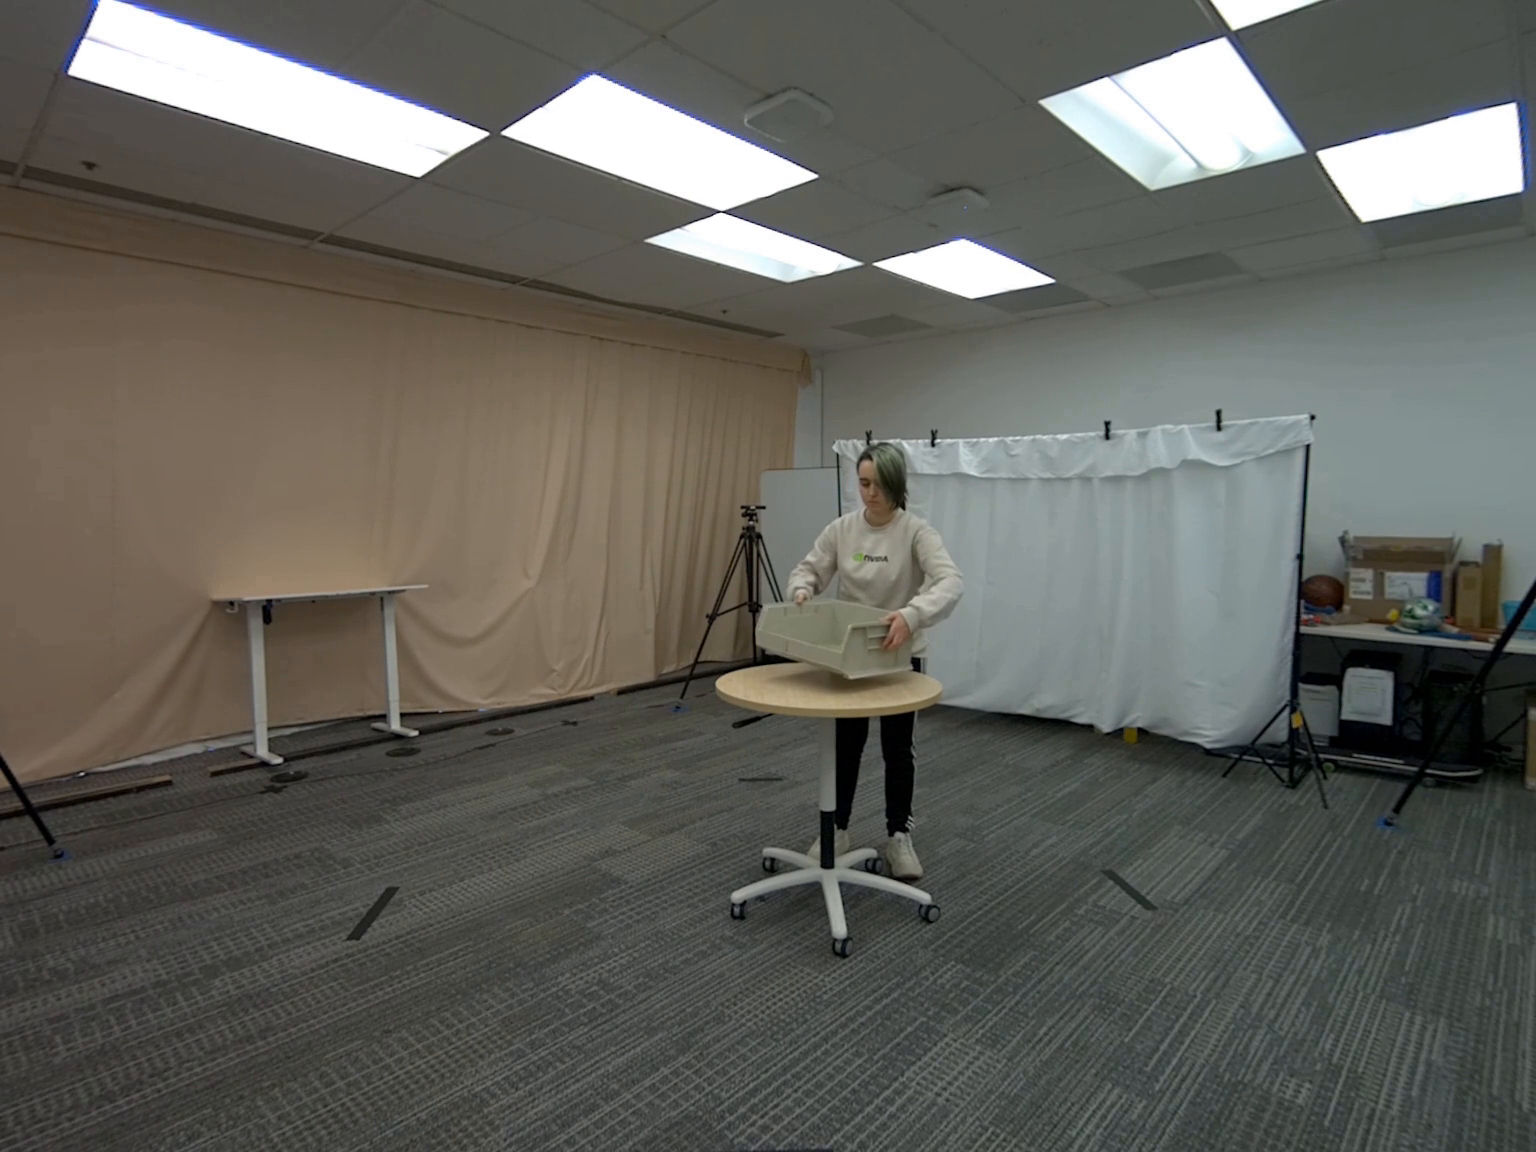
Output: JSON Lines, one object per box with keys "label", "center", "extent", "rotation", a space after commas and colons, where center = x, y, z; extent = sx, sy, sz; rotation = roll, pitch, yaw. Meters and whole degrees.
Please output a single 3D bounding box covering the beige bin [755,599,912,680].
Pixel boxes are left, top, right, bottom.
{"label": "beige bin", "center": [0.239, 0.207, 2.914], "extent": [0.366, 0.188, 0.437], "rotation": [-2, 7, -39]}
